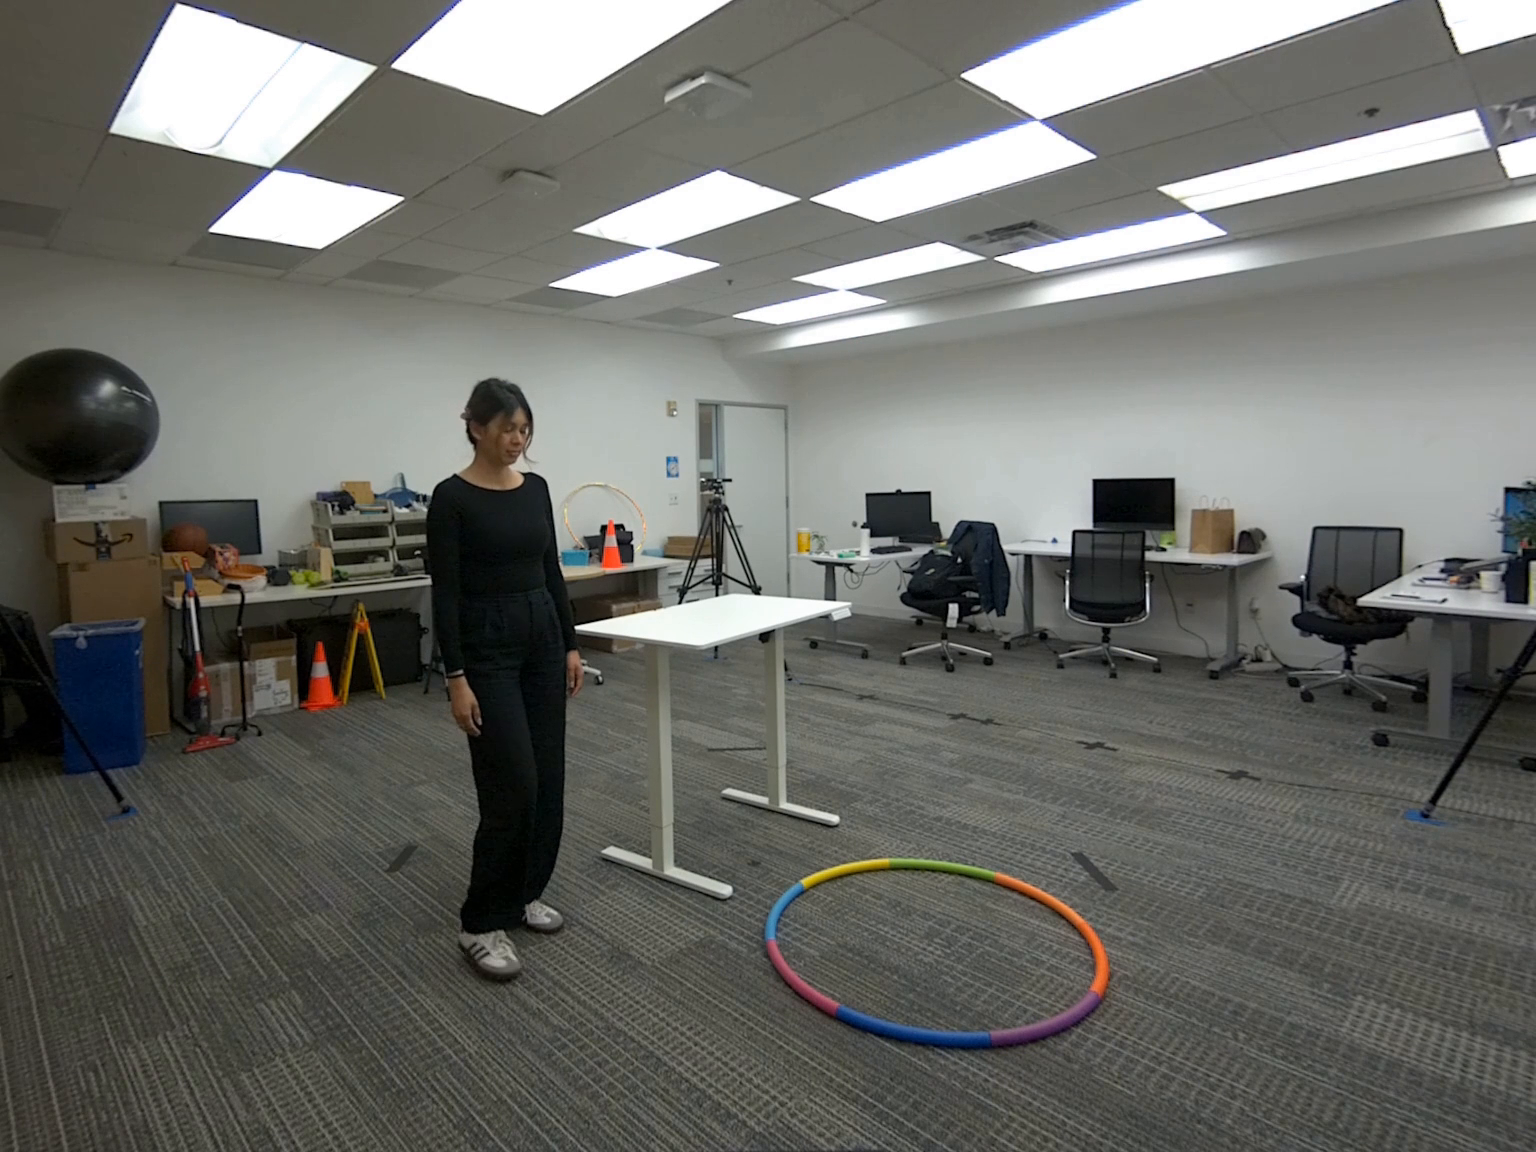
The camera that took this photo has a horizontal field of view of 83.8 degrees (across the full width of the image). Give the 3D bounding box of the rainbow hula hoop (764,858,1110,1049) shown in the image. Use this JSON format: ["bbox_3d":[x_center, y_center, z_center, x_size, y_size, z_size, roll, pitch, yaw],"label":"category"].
[{"bbox_3d":[0.486,1.067,2.571,0.978,0.035,0.984,-2,6,-2],"label":"rainbow hula hoop"}]
